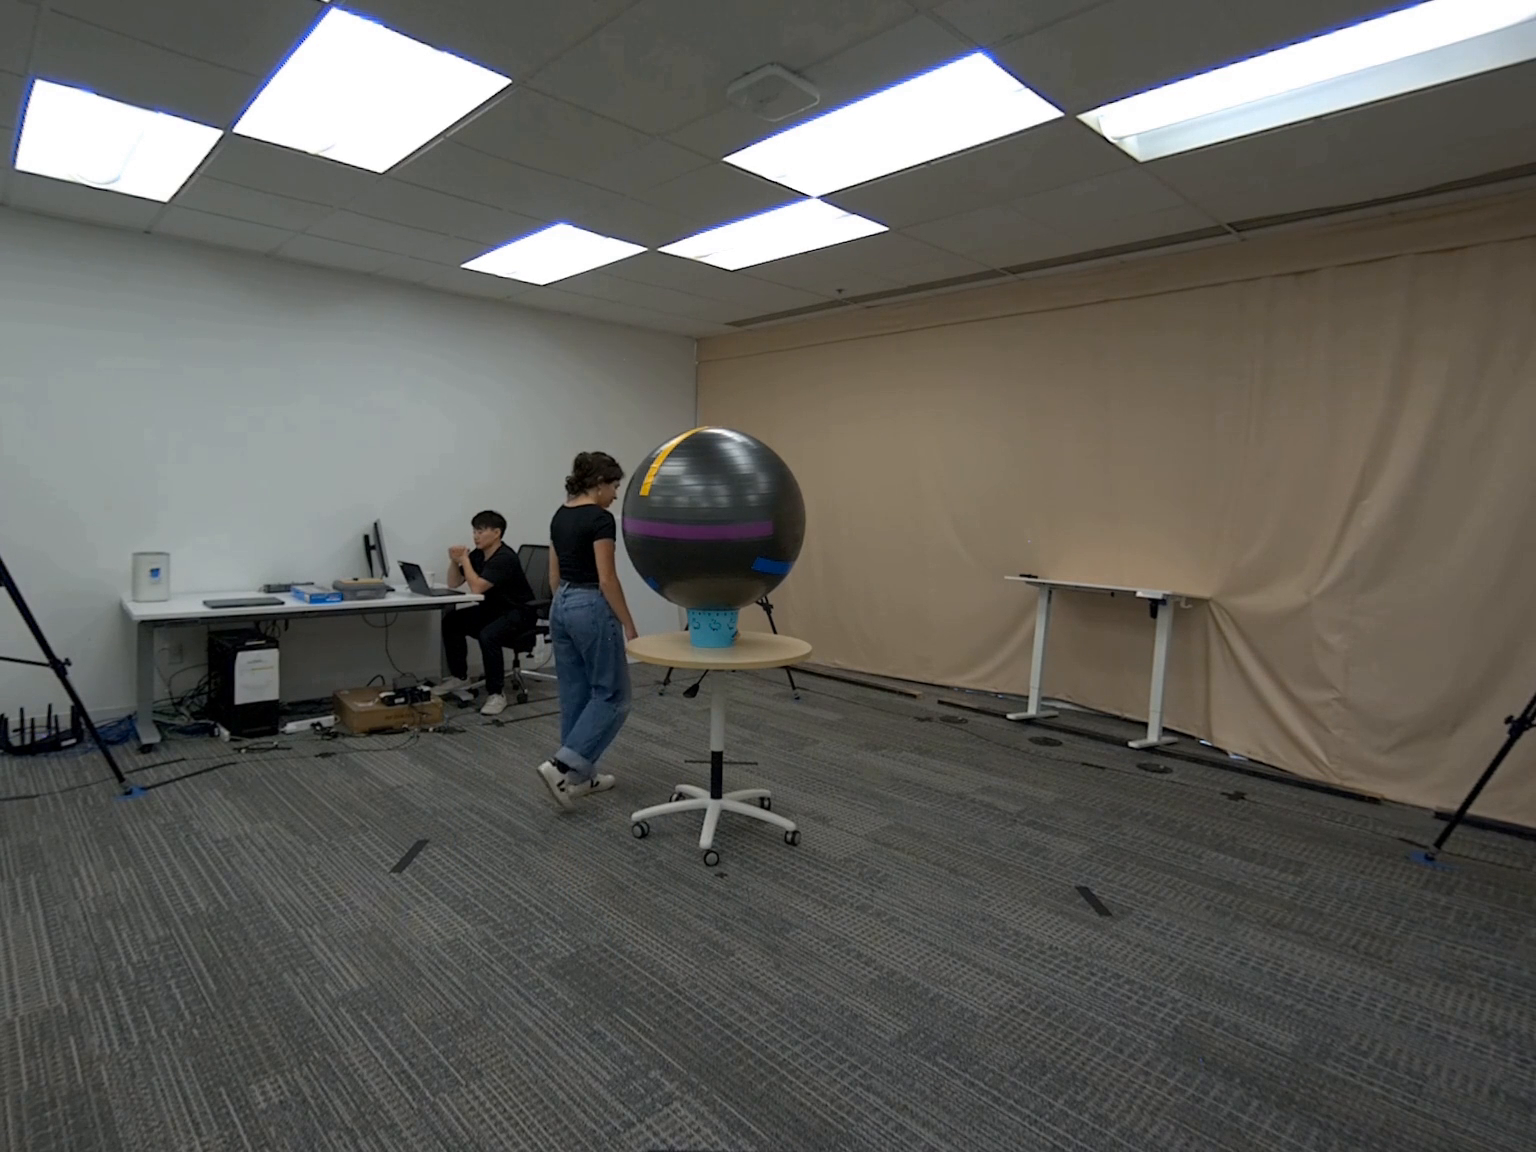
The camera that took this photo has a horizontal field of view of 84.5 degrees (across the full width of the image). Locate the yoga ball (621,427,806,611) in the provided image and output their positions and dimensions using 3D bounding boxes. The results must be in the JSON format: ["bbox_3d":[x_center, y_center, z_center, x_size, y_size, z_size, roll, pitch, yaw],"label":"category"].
[{"bbox_3d":[-0.225,-0.230,3.492,0.757,0.756,0.761,1,4,-1],"label":"yoga ball"}]
